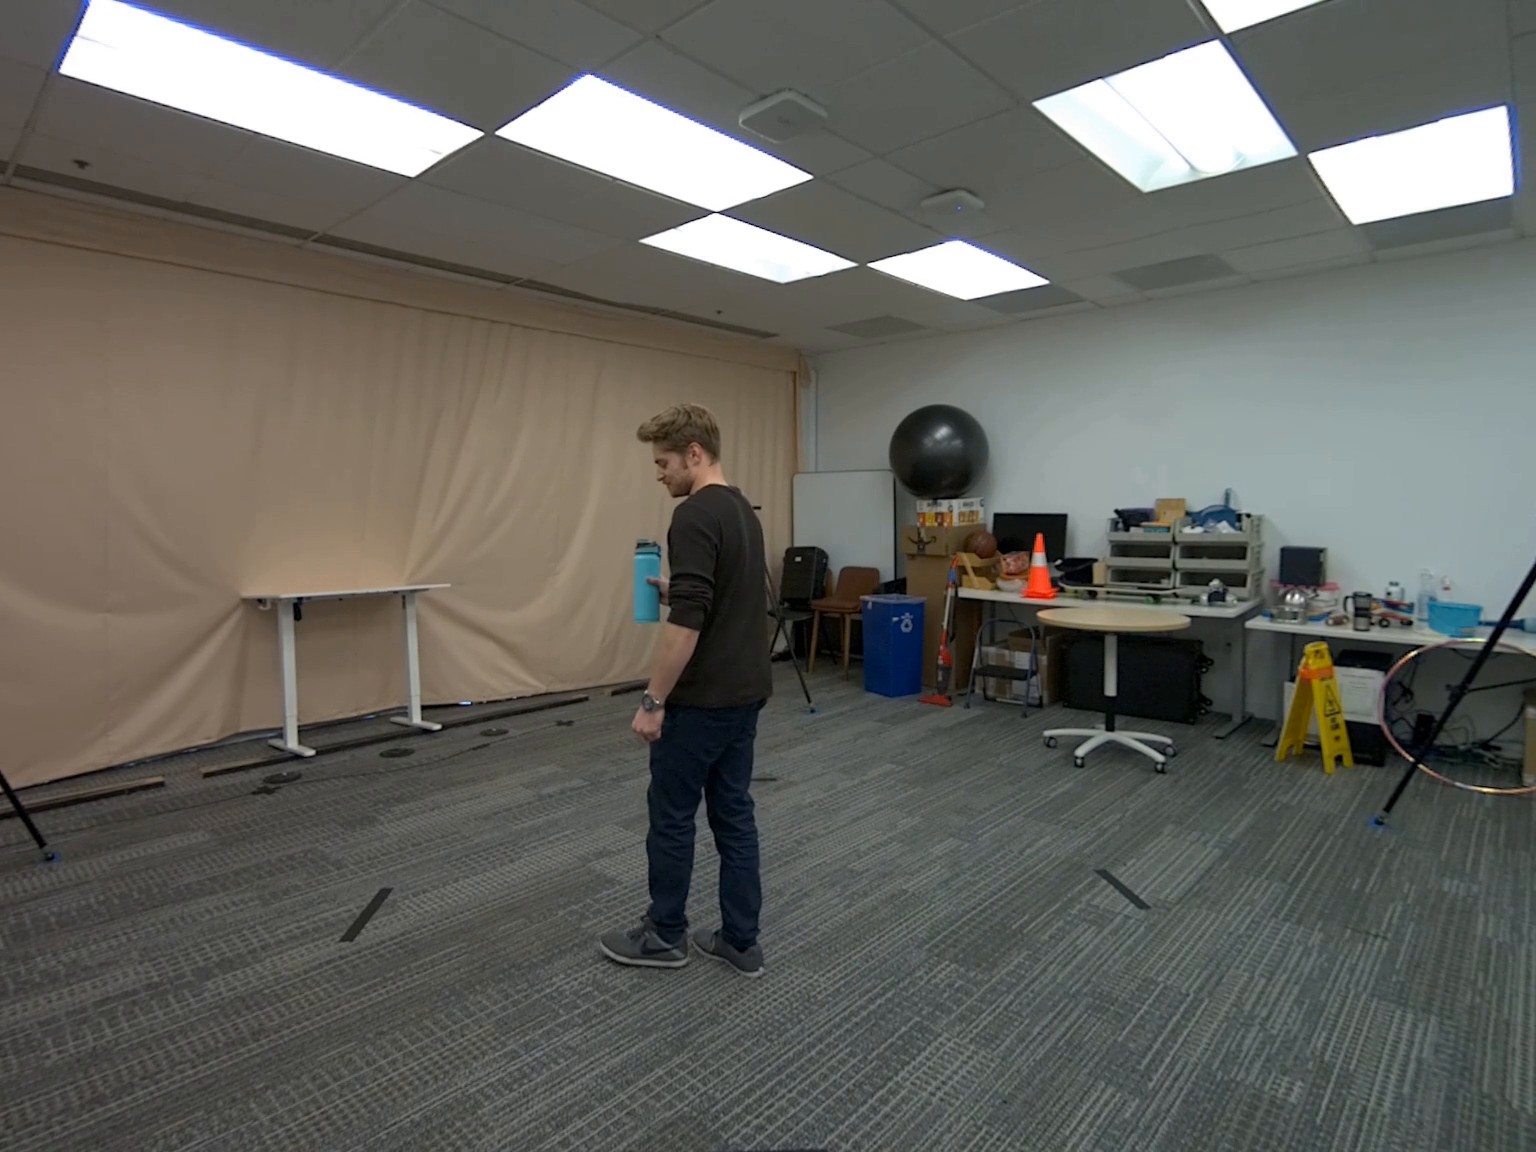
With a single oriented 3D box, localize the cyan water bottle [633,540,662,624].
[{"bbox_3d":[-0.411,0.014,2.855,0.092,0.284,0.092,1,-4,-2],"label":"cyan water bottle"}]
